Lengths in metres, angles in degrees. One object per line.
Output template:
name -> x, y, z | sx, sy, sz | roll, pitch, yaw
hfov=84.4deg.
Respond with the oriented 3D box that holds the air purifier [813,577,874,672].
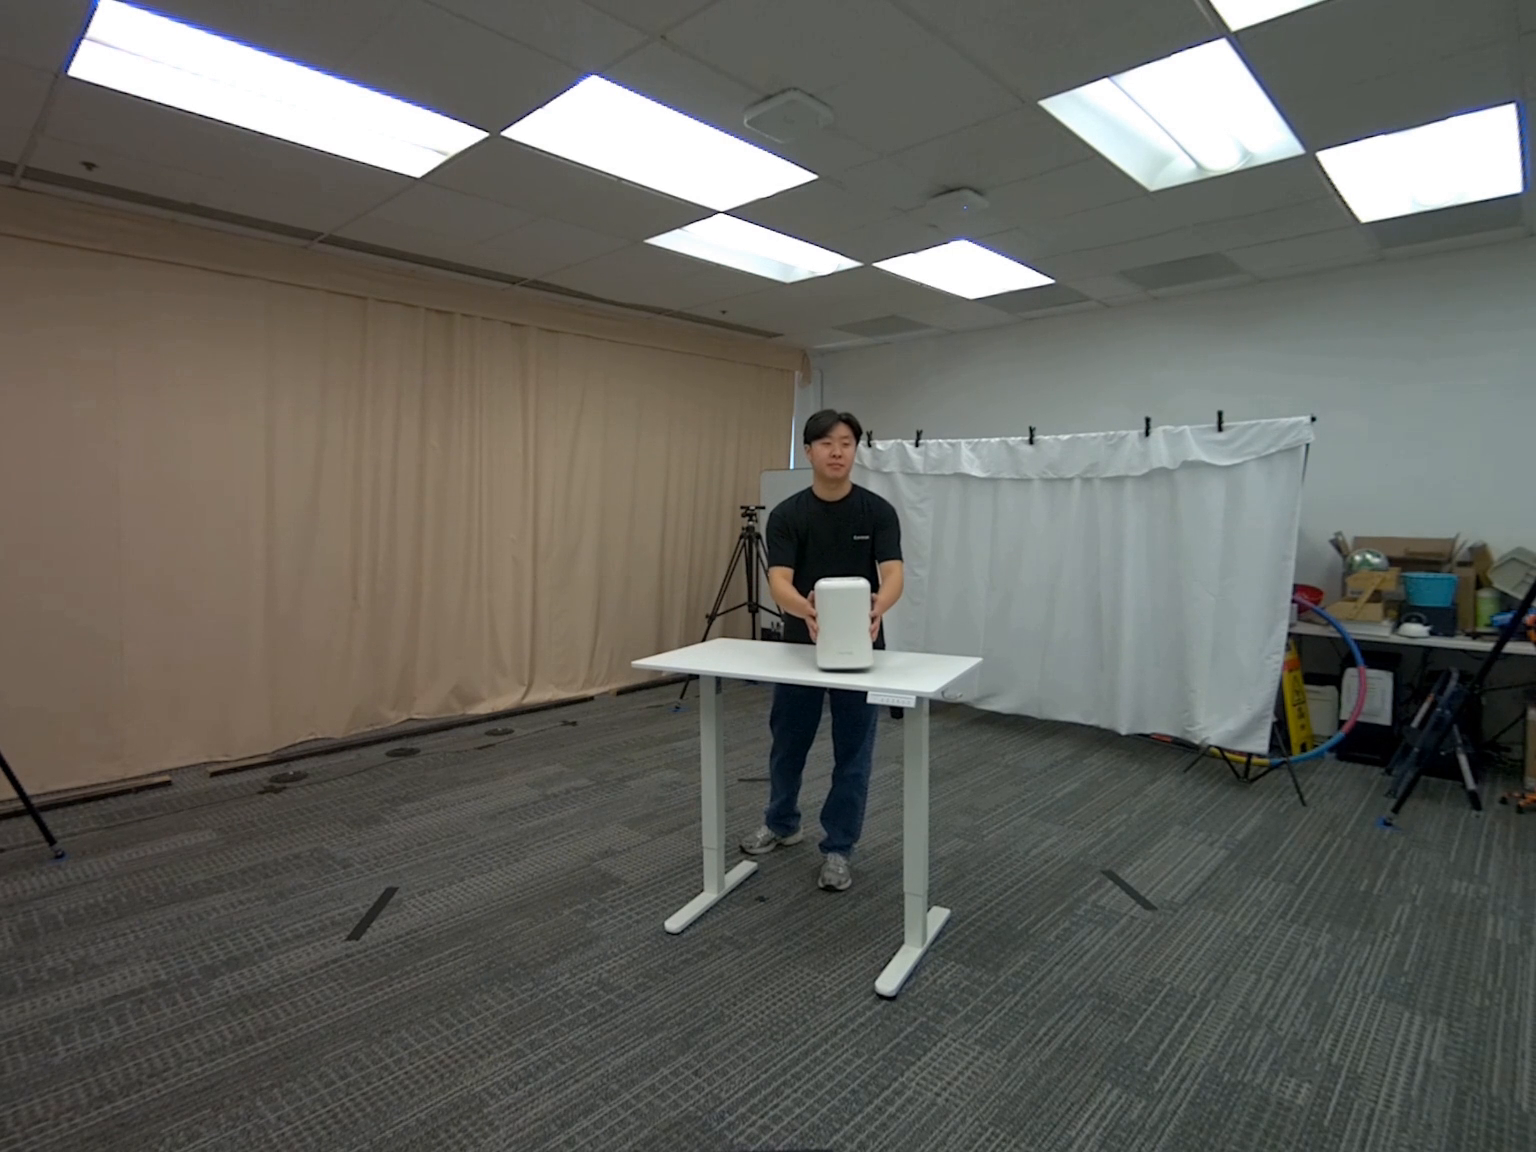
air purifier -> 0.227, 0.143, 2.608 | 0.172, 0.265, 0.171 | -2, 2, 5
